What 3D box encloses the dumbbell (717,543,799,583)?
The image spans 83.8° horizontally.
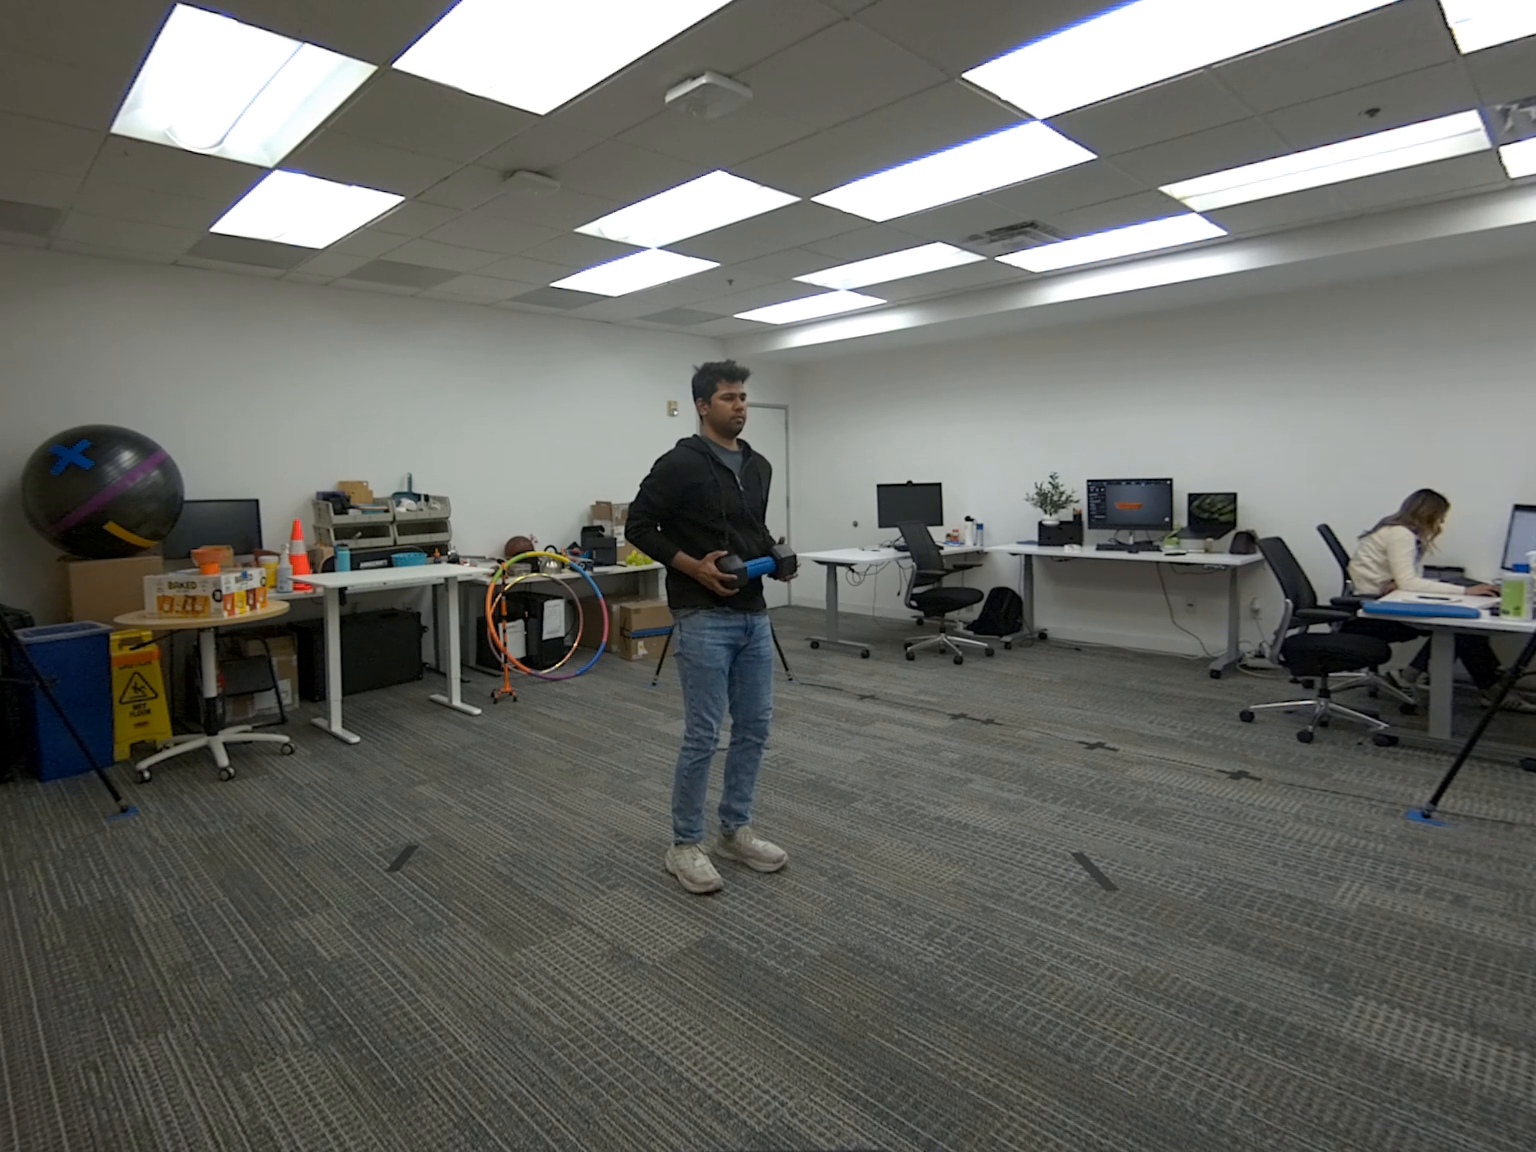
[{"bbox_3d":[-0.054,-0.026,2.934,0.288,0.111,0.123,-14,-18,-32],"label":"dumbbell"}]
